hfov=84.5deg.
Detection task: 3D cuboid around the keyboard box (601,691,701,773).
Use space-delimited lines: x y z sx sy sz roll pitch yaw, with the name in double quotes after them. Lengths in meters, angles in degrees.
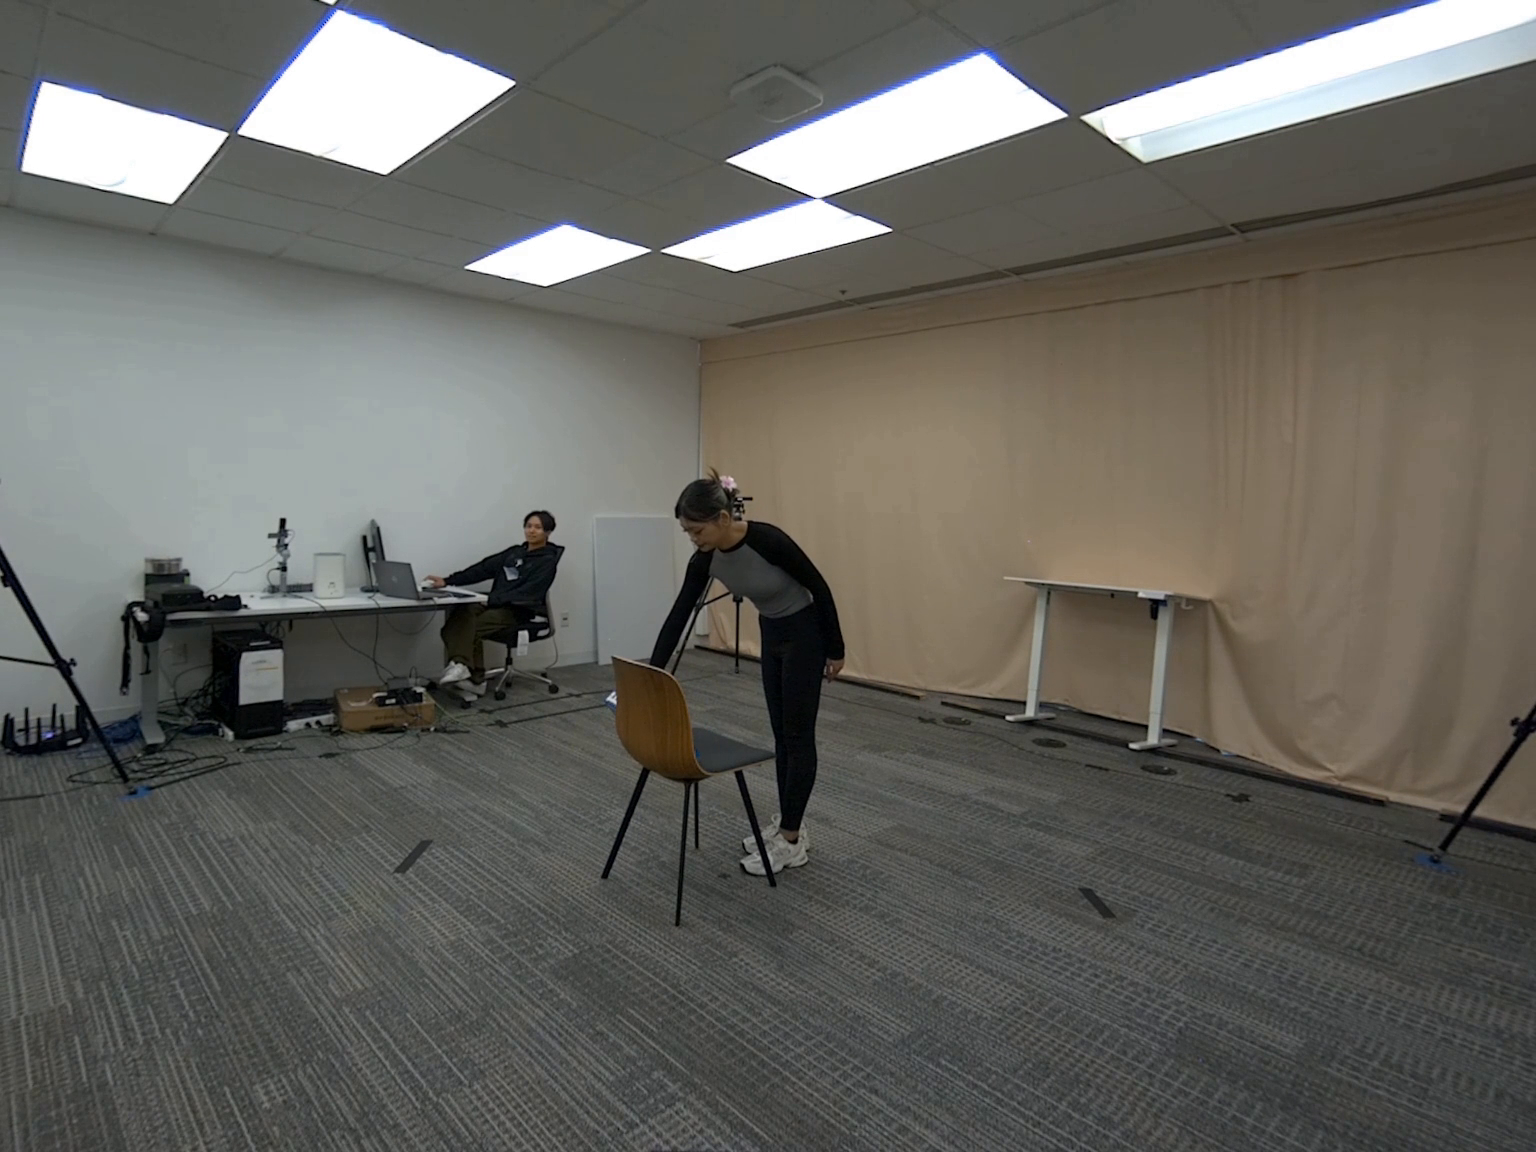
-0.427 0.548 3.020 0.059 0.171 0.449 -44 31 -23 "keyboard box"
